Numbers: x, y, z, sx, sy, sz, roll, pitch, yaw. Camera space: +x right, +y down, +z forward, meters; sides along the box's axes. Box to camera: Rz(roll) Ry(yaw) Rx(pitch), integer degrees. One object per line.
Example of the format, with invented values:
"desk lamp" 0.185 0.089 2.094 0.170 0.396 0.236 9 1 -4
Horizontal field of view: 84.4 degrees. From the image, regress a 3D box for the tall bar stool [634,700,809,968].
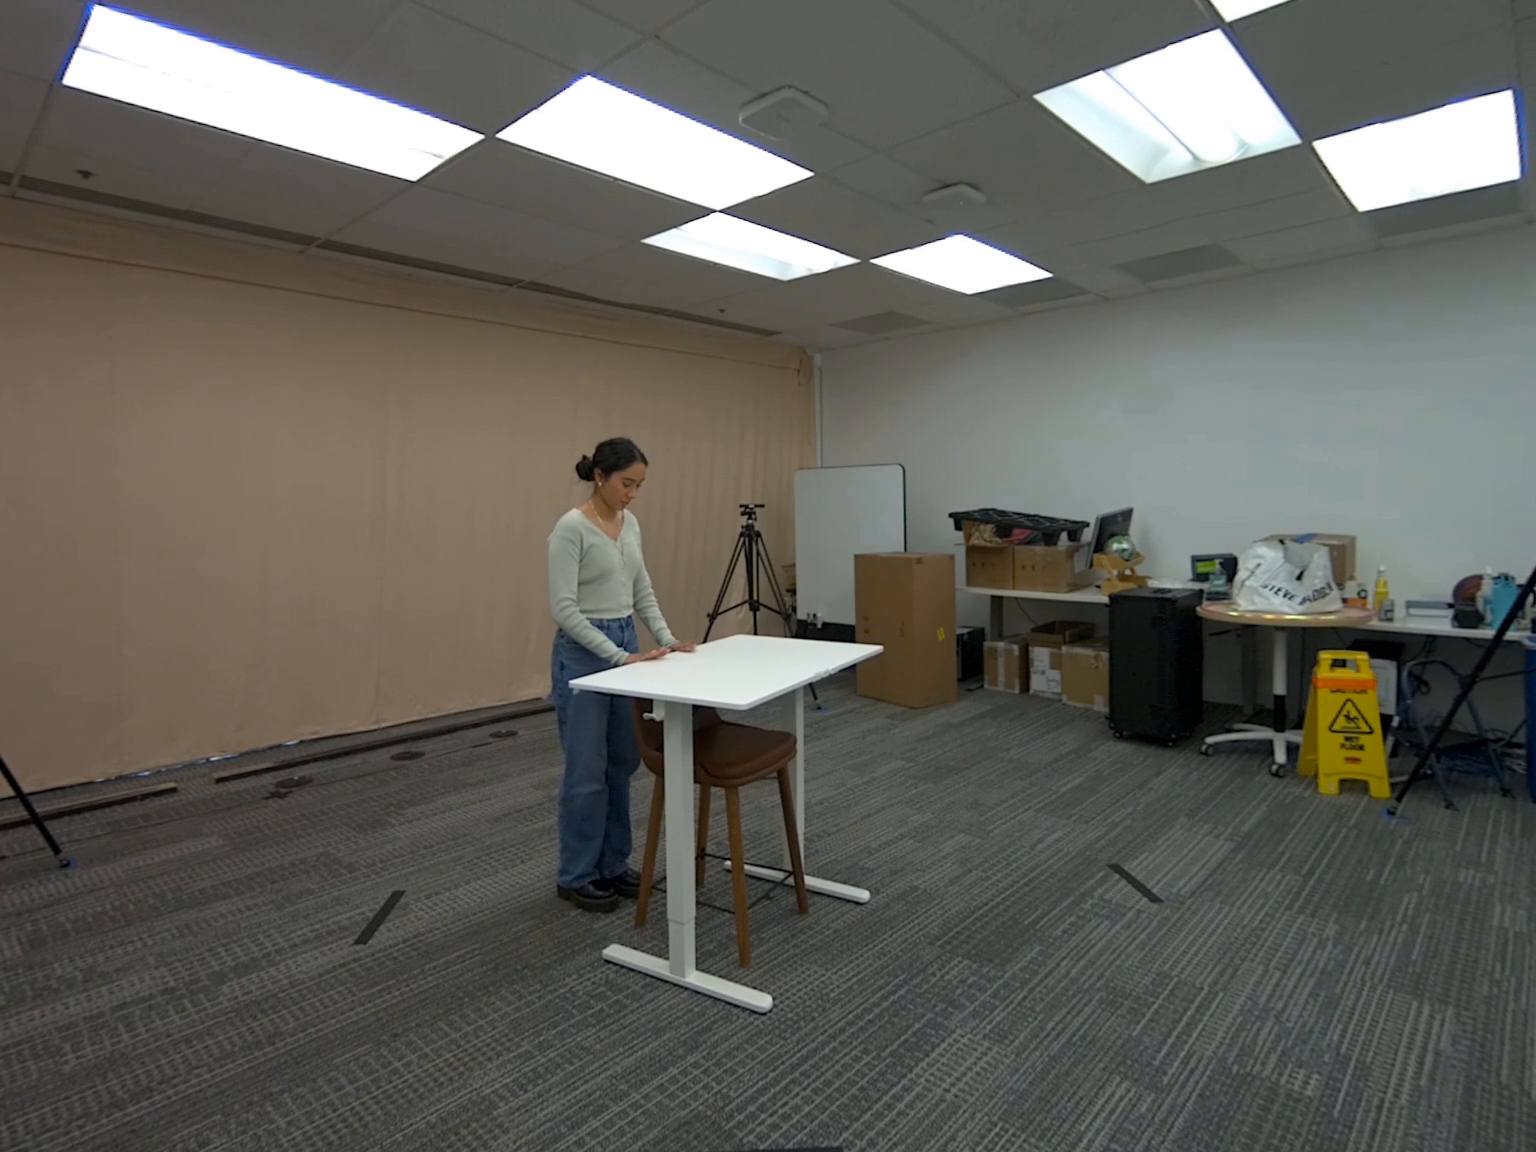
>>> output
"tall bar stool" -0.171 0.727 2.798 0.481 0.888 0.444 -2 3 32
